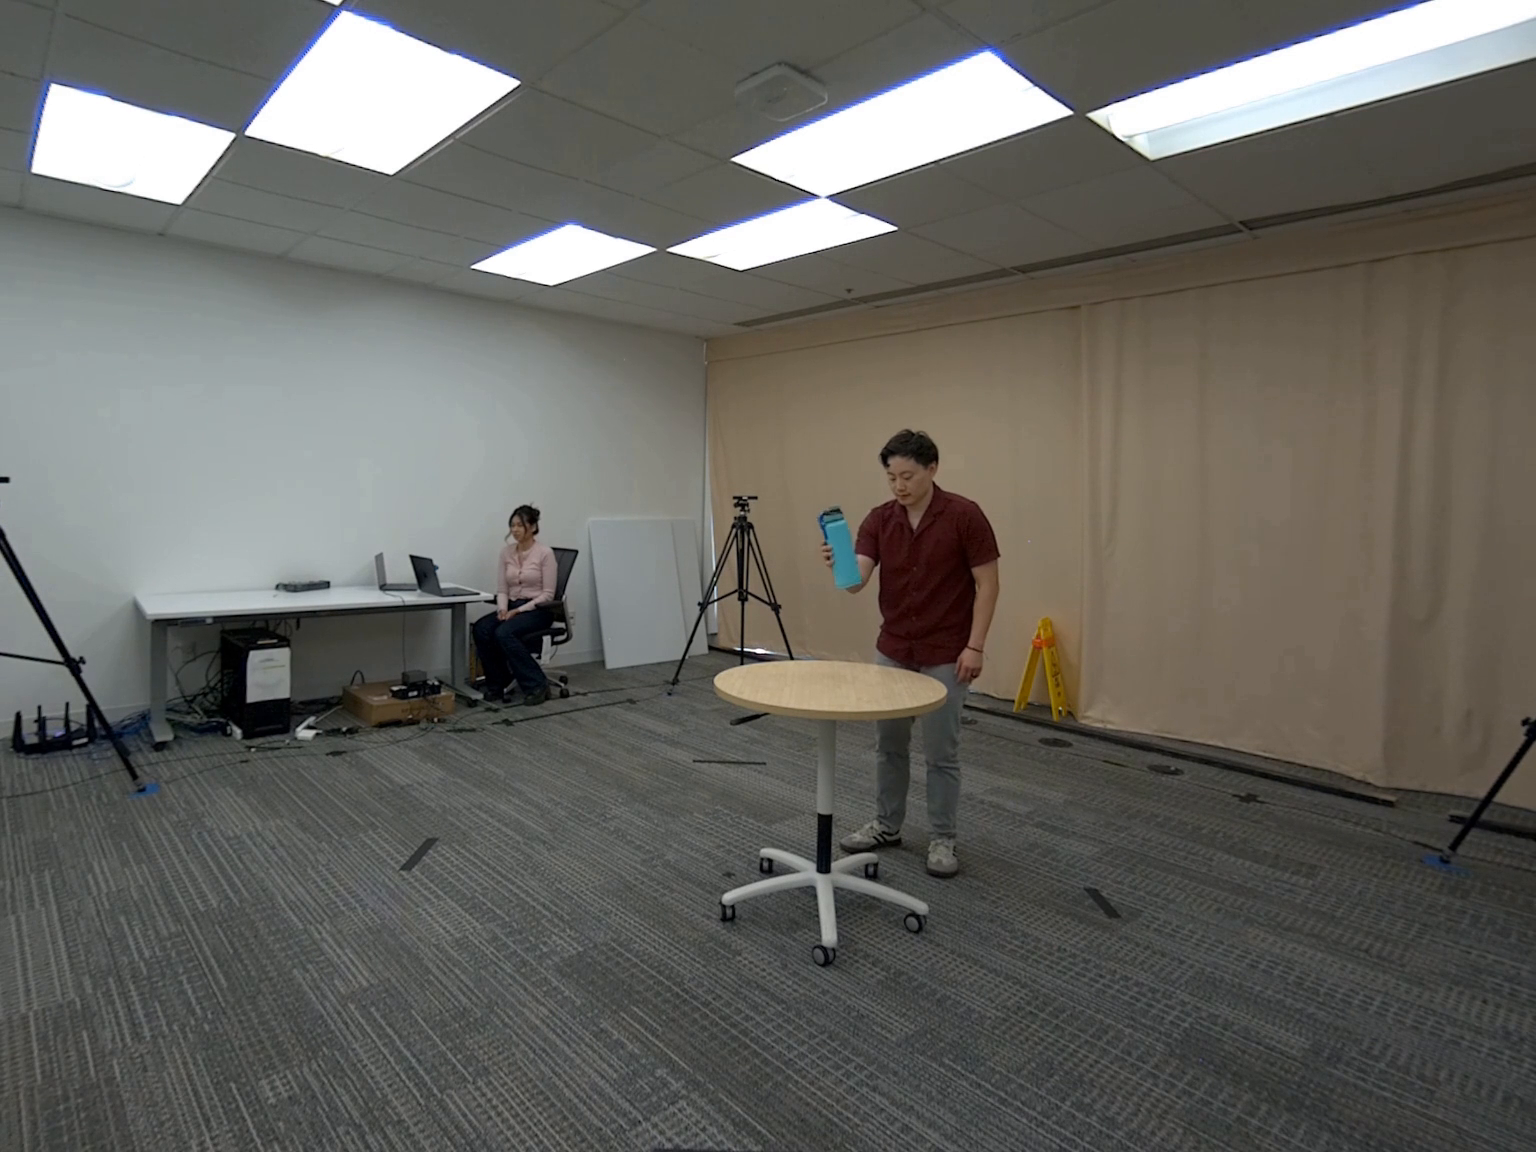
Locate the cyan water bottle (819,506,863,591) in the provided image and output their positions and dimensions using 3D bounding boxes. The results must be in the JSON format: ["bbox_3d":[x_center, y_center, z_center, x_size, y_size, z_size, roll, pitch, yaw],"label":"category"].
[{"bbox_3d":[0.246,-0.080,2.910,0.092,0.282,0.092,-14,3,0],"label":"cyan water bottle"}]
